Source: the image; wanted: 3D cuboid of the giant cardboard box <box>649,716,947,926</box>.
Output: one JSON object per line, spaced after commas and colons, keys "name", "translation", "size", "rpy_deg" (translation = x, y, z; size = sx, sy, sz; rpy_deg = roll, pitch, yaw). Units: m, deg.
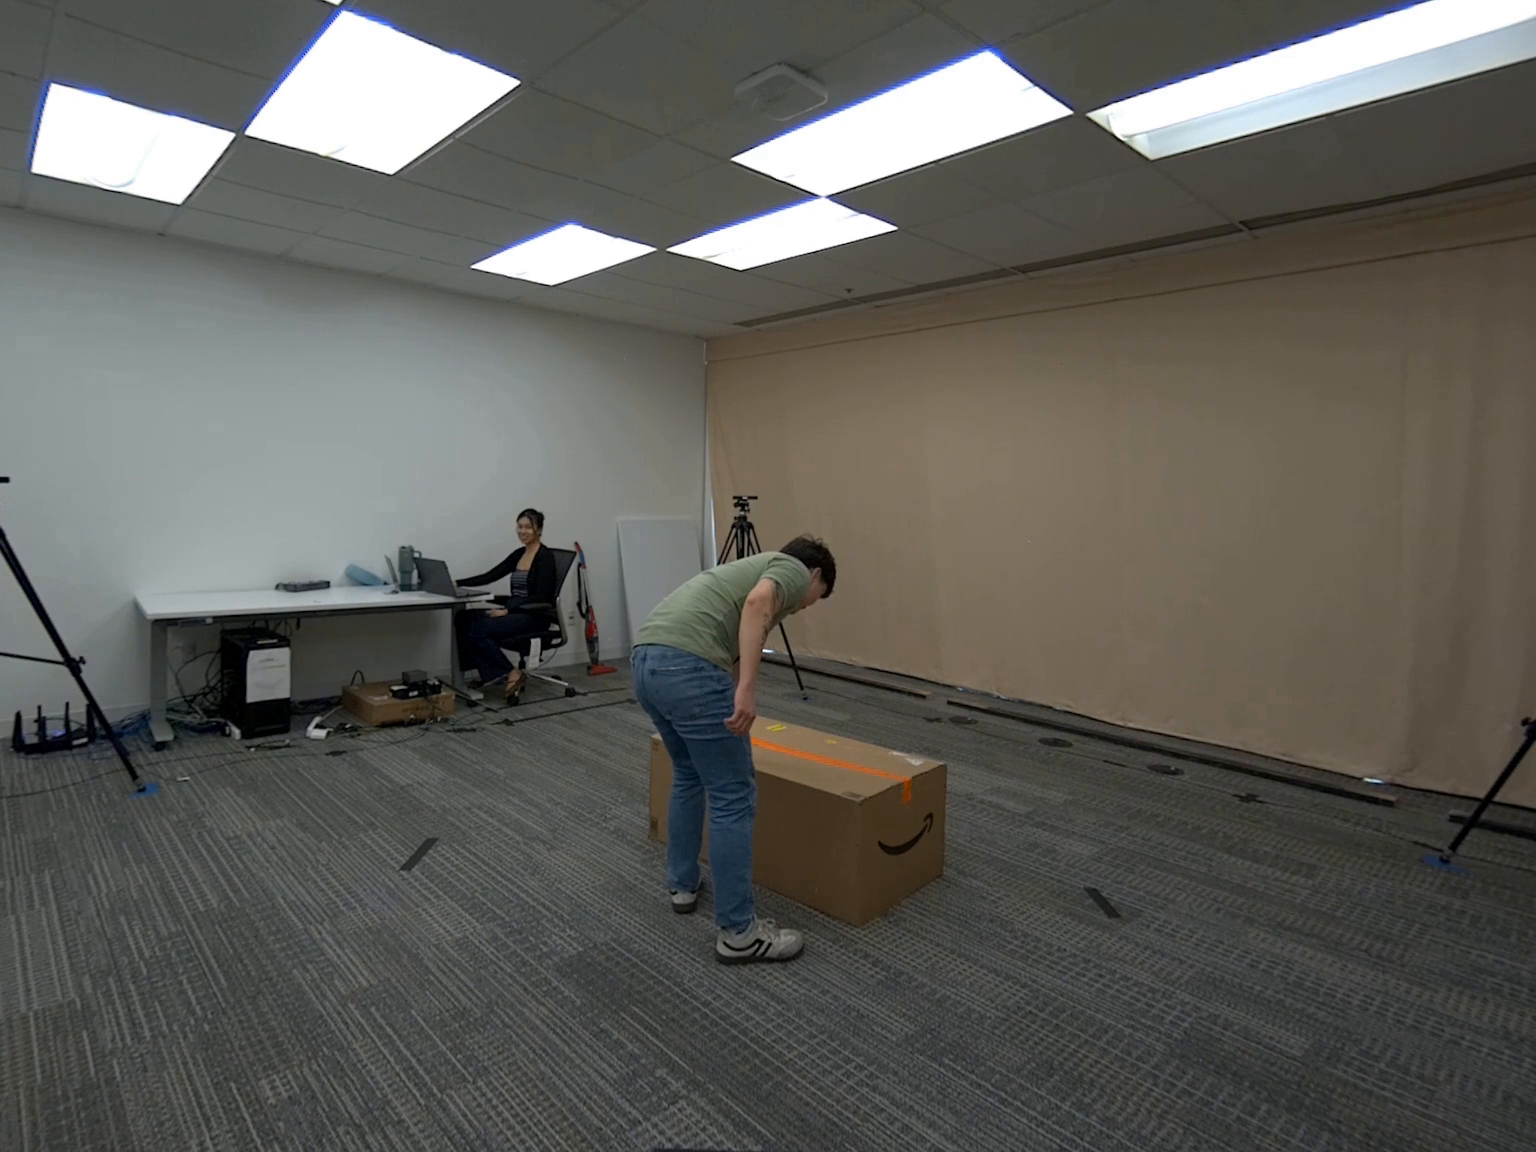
{"name": "giant cardboard box", "translation": [0.083, 0.882, 3.280], "size": [1.052, 0.425, 0.564], "rpy_deg": [5, 5, 42]}
